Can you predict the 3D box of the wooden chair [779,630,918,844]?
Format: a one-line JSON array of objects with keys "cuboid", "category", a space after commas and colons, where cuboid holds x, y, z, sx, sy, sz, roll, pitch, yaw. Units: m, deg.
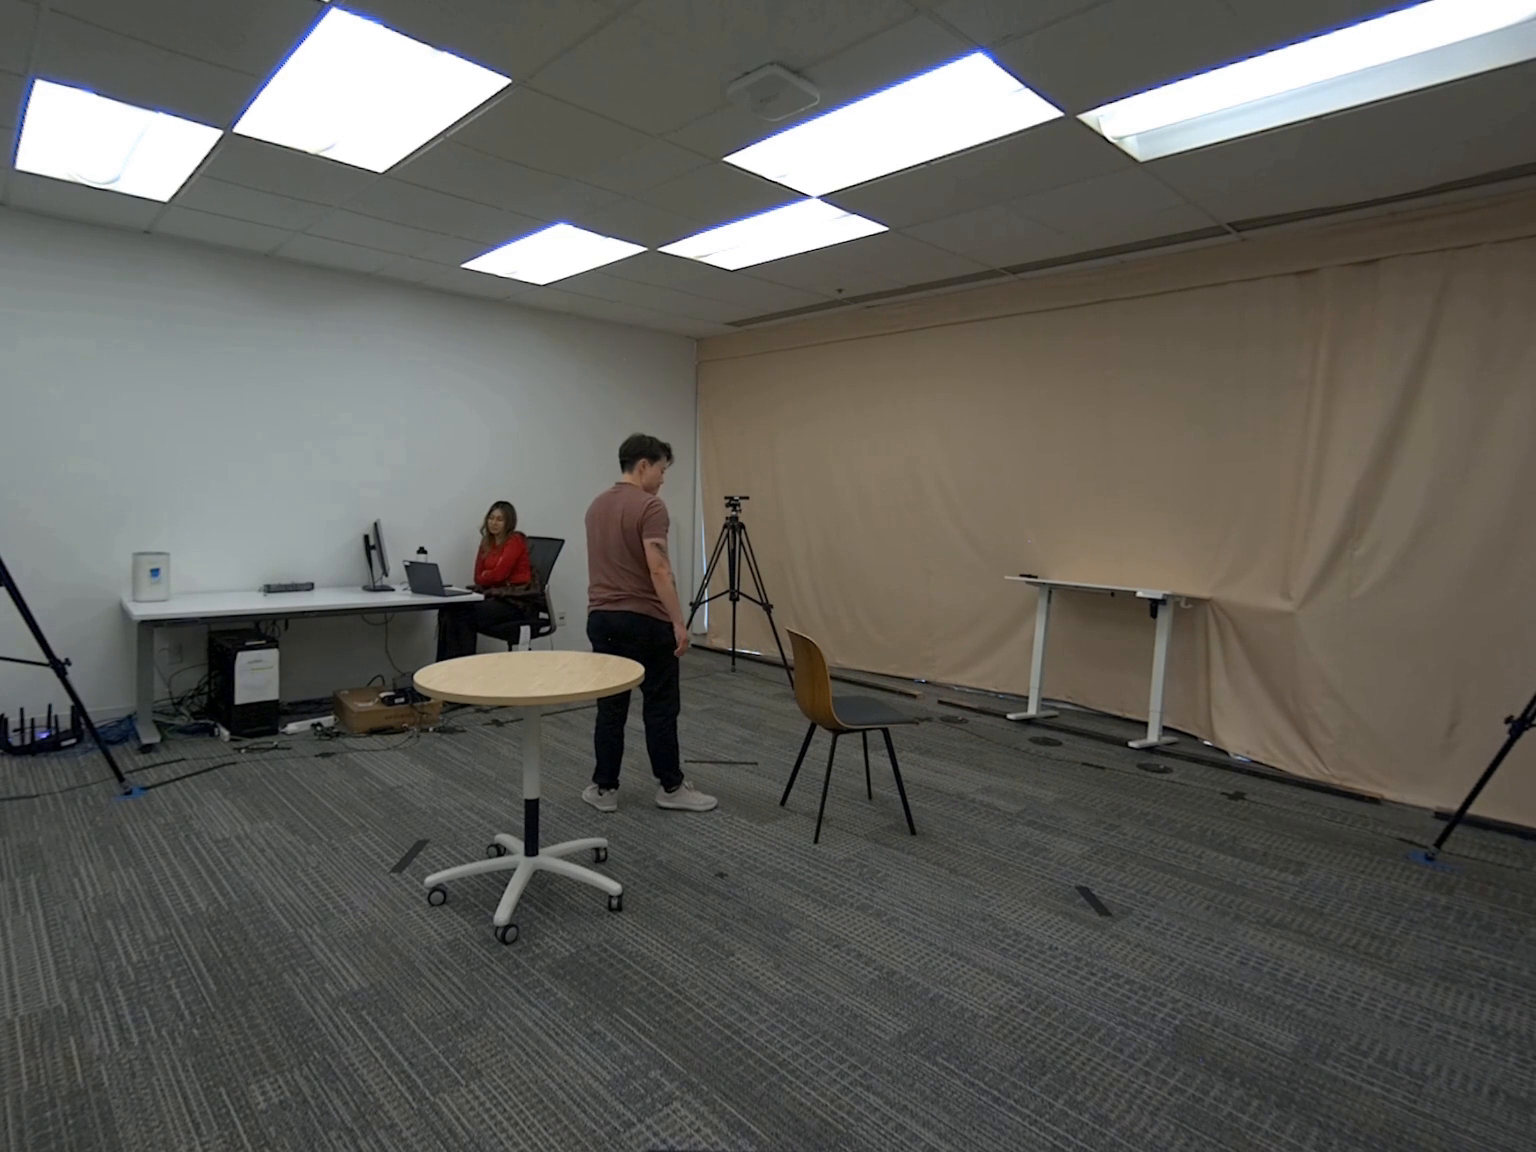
[{"cuboid": [0.348, 0.642, 3.651, 0.517, 0.874, 0.485, -3, 5, -17], "category": "wooden chair"}]
